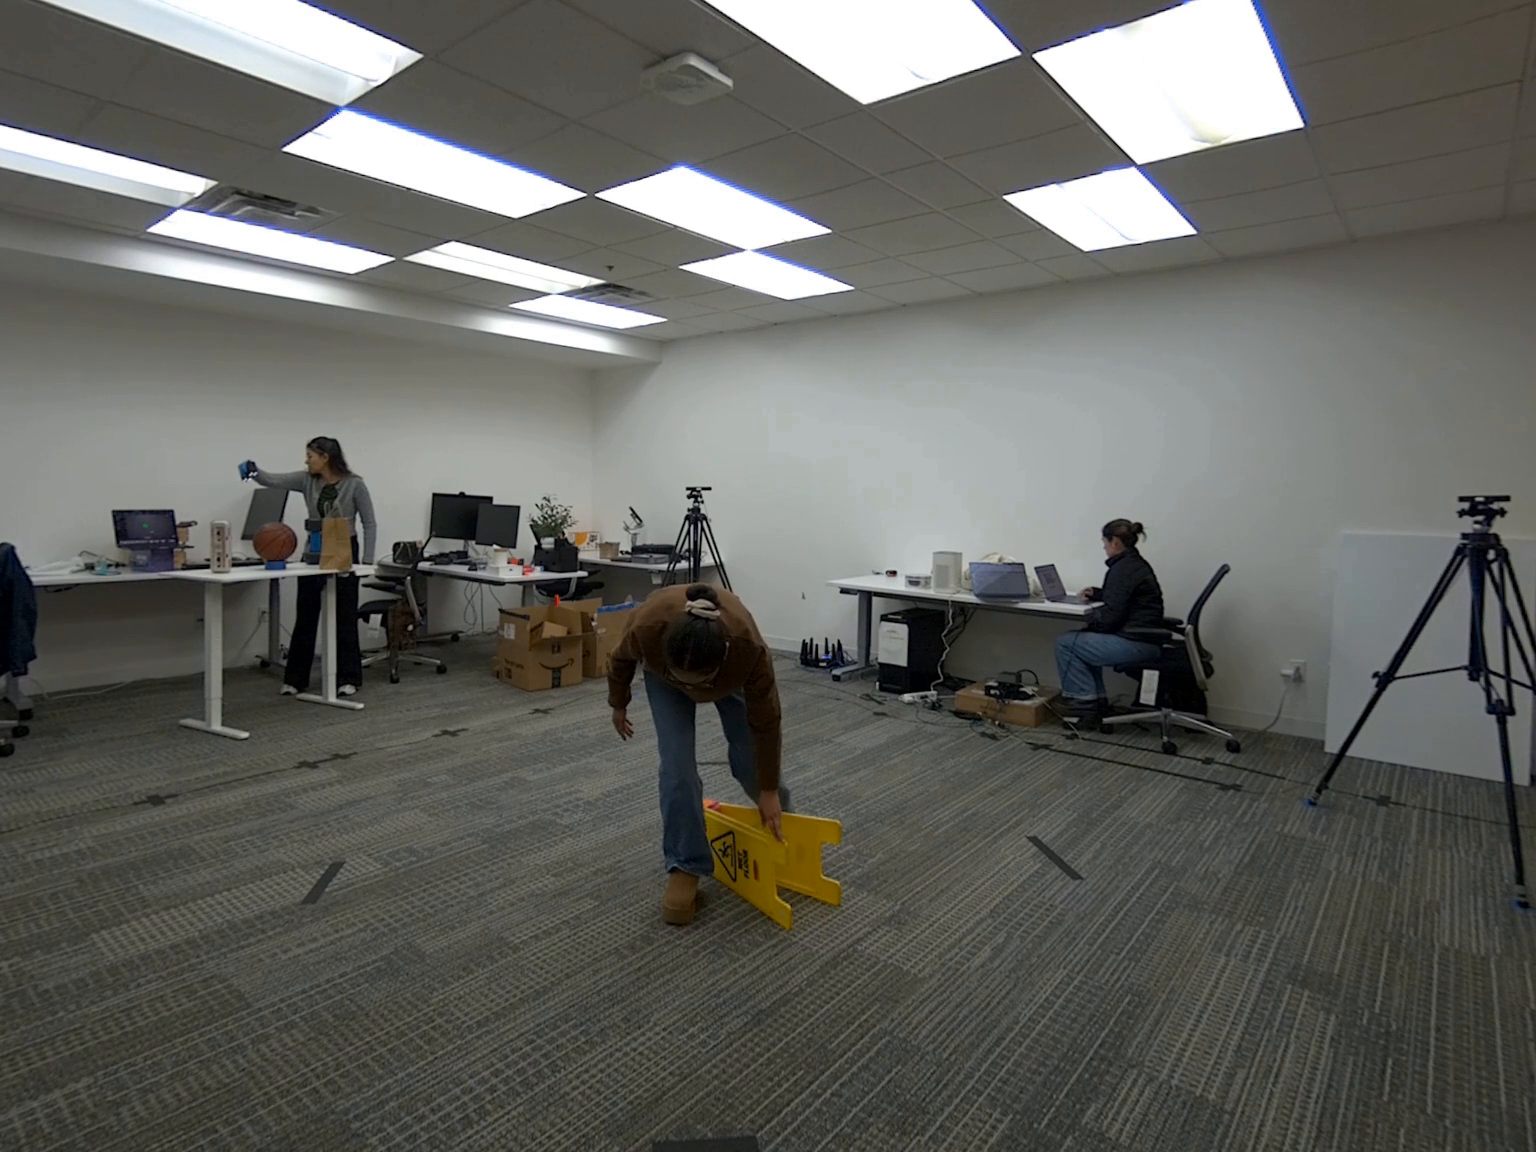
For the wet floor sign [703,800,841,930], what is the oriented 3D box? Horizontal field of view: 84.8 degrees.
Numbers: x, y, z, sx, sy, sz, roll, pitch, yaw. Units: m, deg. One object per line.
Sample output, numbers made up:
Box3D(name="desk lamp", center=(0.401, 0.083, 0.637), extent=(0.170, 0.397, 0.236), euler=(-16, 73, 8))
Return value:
Box3D(name="wet floor sign", center=(-0.092, 0.952, 2.986), extent=(0.667, 0.282, 0.281), euler=(2, 4, 44))
